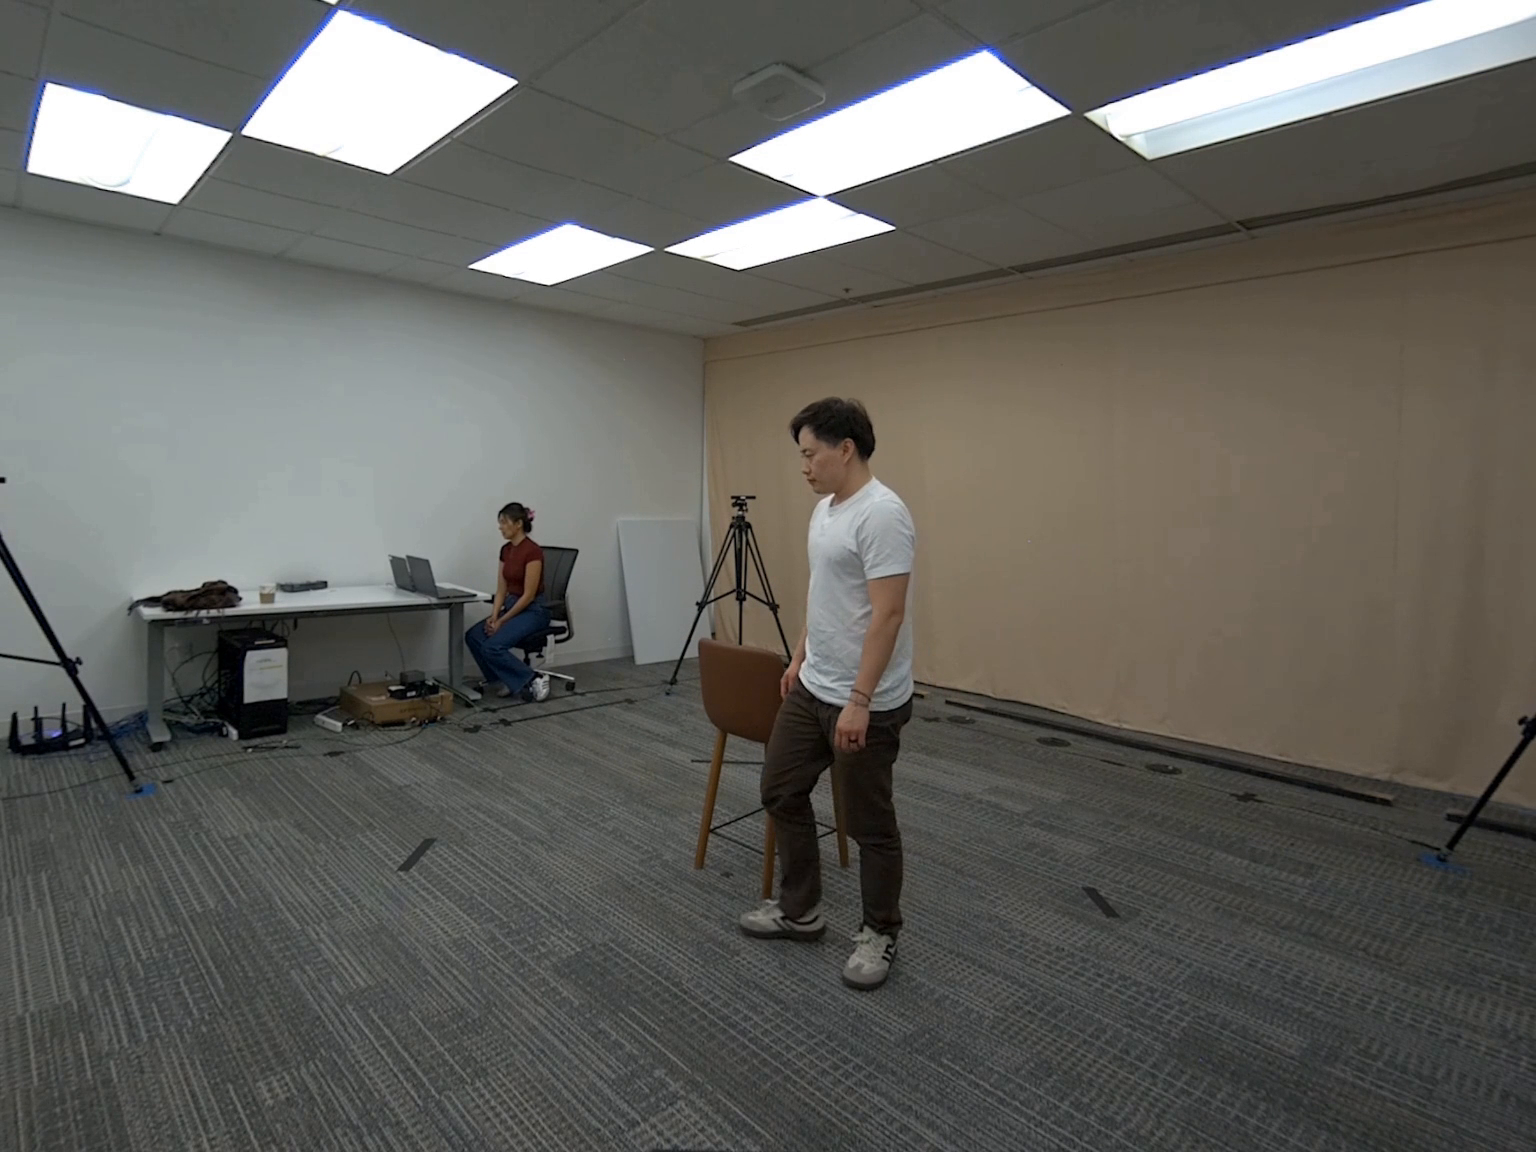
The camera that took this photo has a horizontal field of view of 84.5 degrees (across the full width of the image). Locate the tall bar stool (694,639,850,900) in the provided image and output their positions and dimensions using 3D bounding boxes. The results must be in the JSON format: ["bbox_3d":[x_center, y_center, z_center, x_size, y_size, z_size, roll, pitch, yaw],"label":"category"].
[{"bbox_3d":[0.010,0.667,3.157,0.468,0.887,0.457,5,6,43],"label":"tall bar stool"}]
